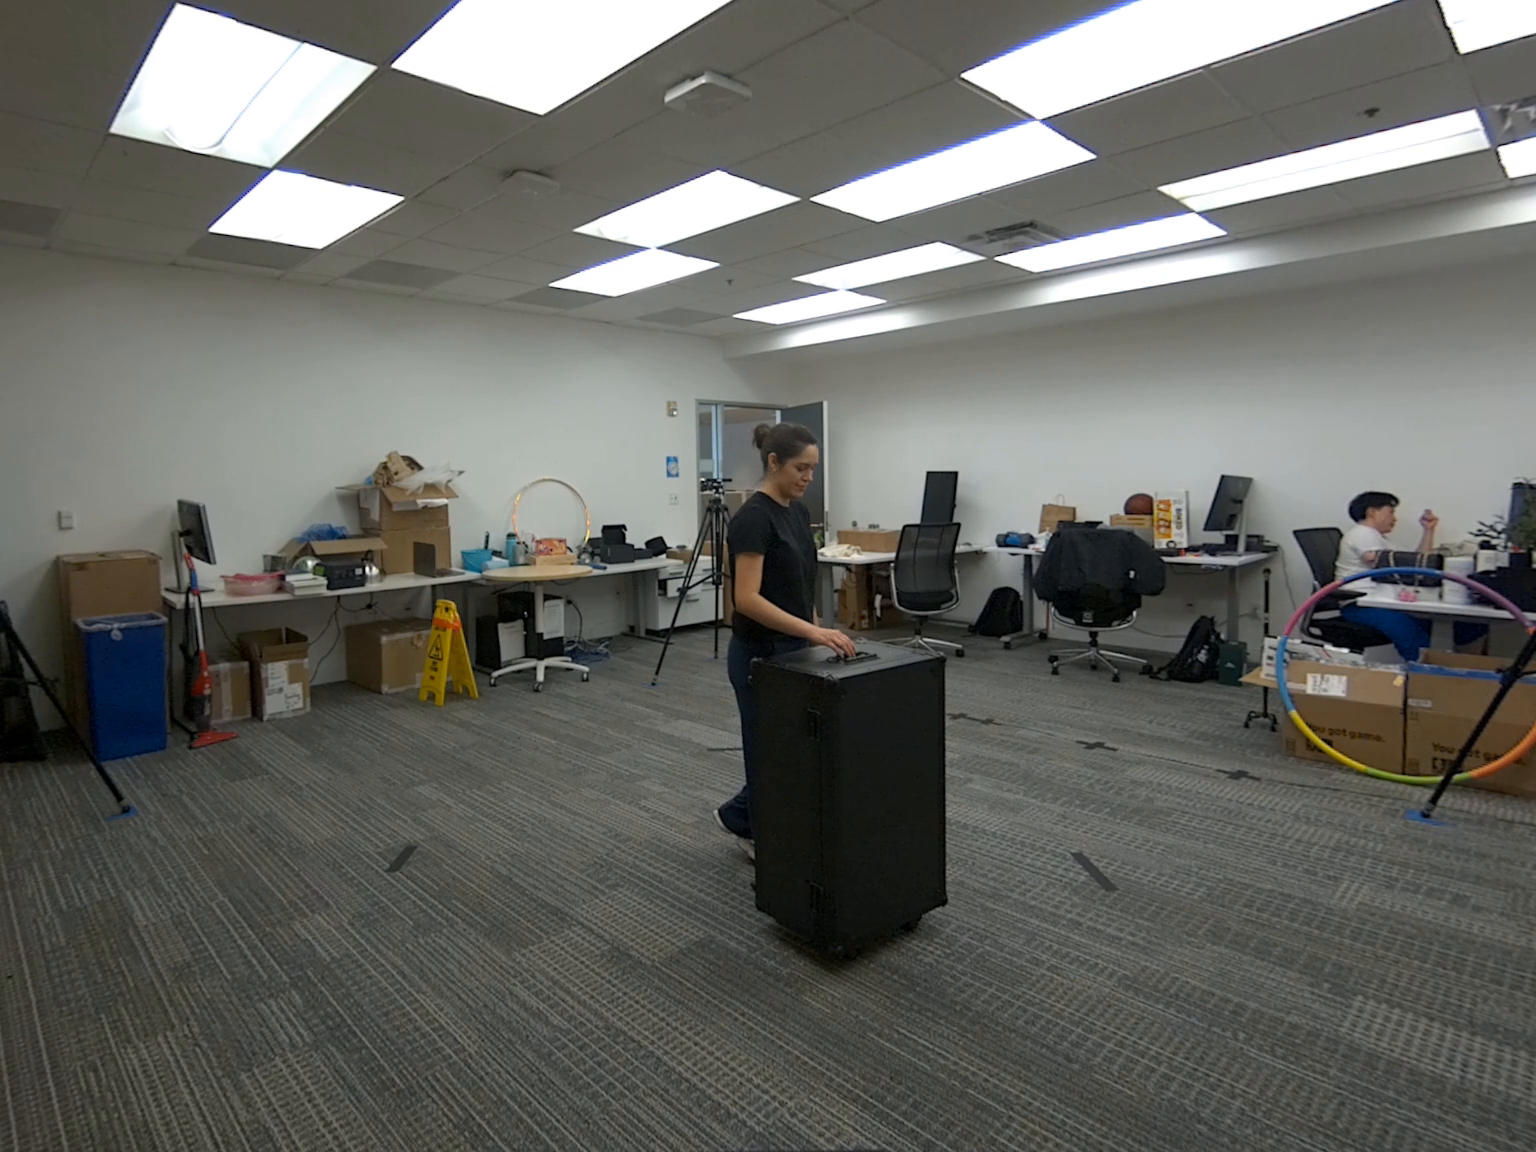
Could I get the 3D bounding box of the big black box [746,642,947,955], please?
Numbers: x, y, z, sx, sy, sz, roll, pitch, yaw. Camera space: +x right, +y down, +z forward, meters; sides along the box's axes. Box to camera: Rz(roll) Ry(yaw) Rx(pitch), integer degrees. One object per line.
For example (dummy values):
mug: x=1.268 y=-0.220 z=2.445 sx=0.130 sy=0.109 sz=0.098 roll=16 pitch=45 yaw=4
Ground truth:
big black box: x=0.245 y=0.607 z=2.641 sx=0.508 sy=0.858 sz=0.408 roll=-5 pitch=5 yaw=-38
